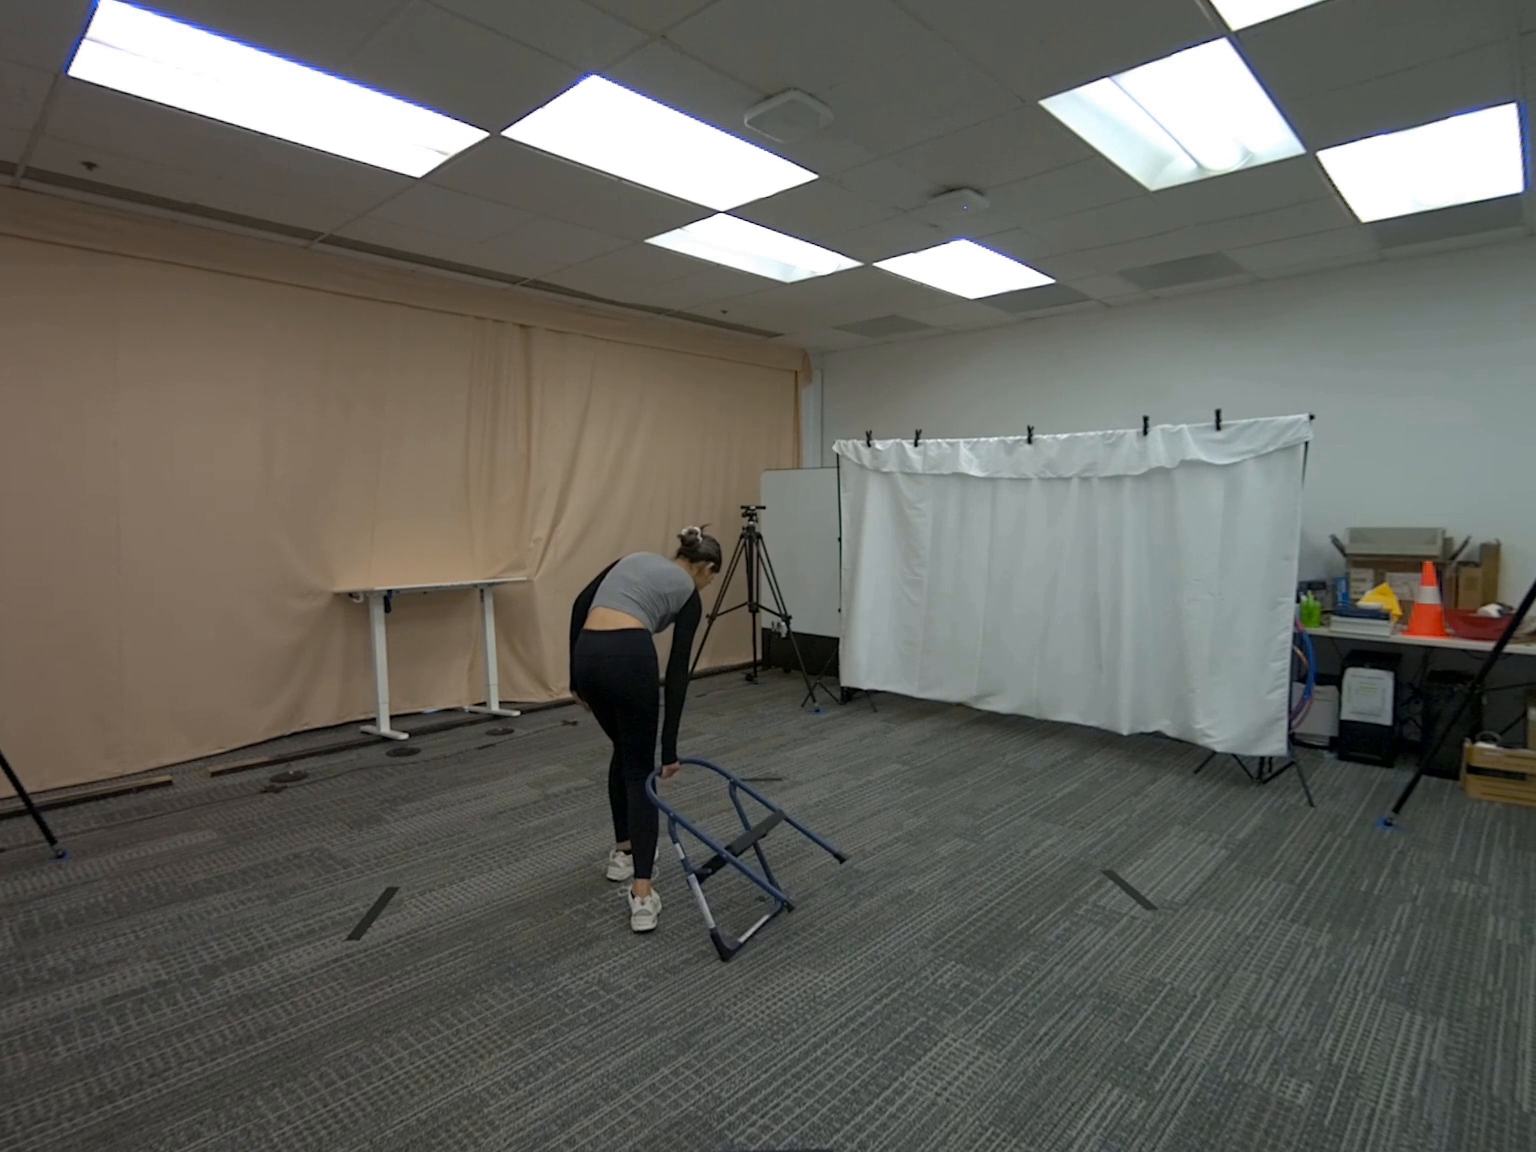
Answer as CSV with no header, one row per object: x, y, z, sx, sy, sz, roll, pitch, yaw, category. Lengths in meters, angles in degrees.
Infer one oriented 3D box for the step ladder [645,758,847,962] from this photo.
-0.108,0.835,2.772,0.351,0.619,0.419,-48,-19,23,step ladder
